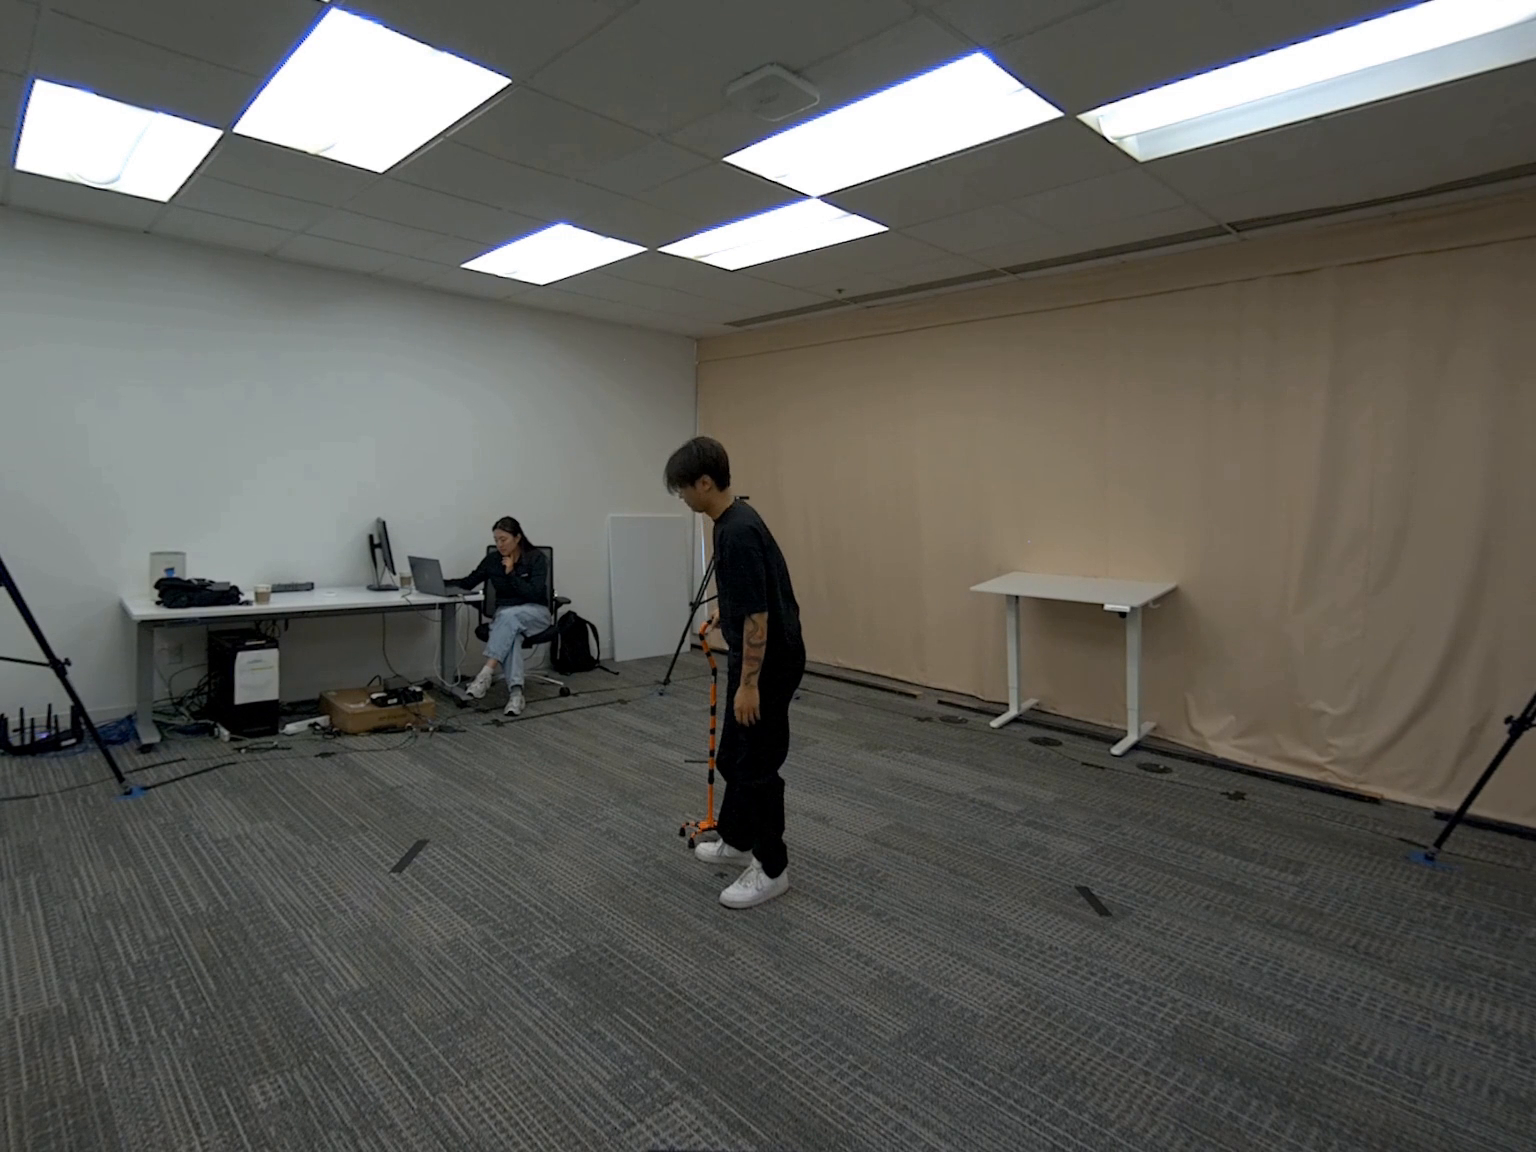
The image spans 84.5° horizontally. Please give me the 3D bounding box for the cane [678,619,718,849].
[{"bbox_3d":[-0.238,0.621,3.409,0.203,0.905,0.154,0,4,-24],"label":"cane"}]
